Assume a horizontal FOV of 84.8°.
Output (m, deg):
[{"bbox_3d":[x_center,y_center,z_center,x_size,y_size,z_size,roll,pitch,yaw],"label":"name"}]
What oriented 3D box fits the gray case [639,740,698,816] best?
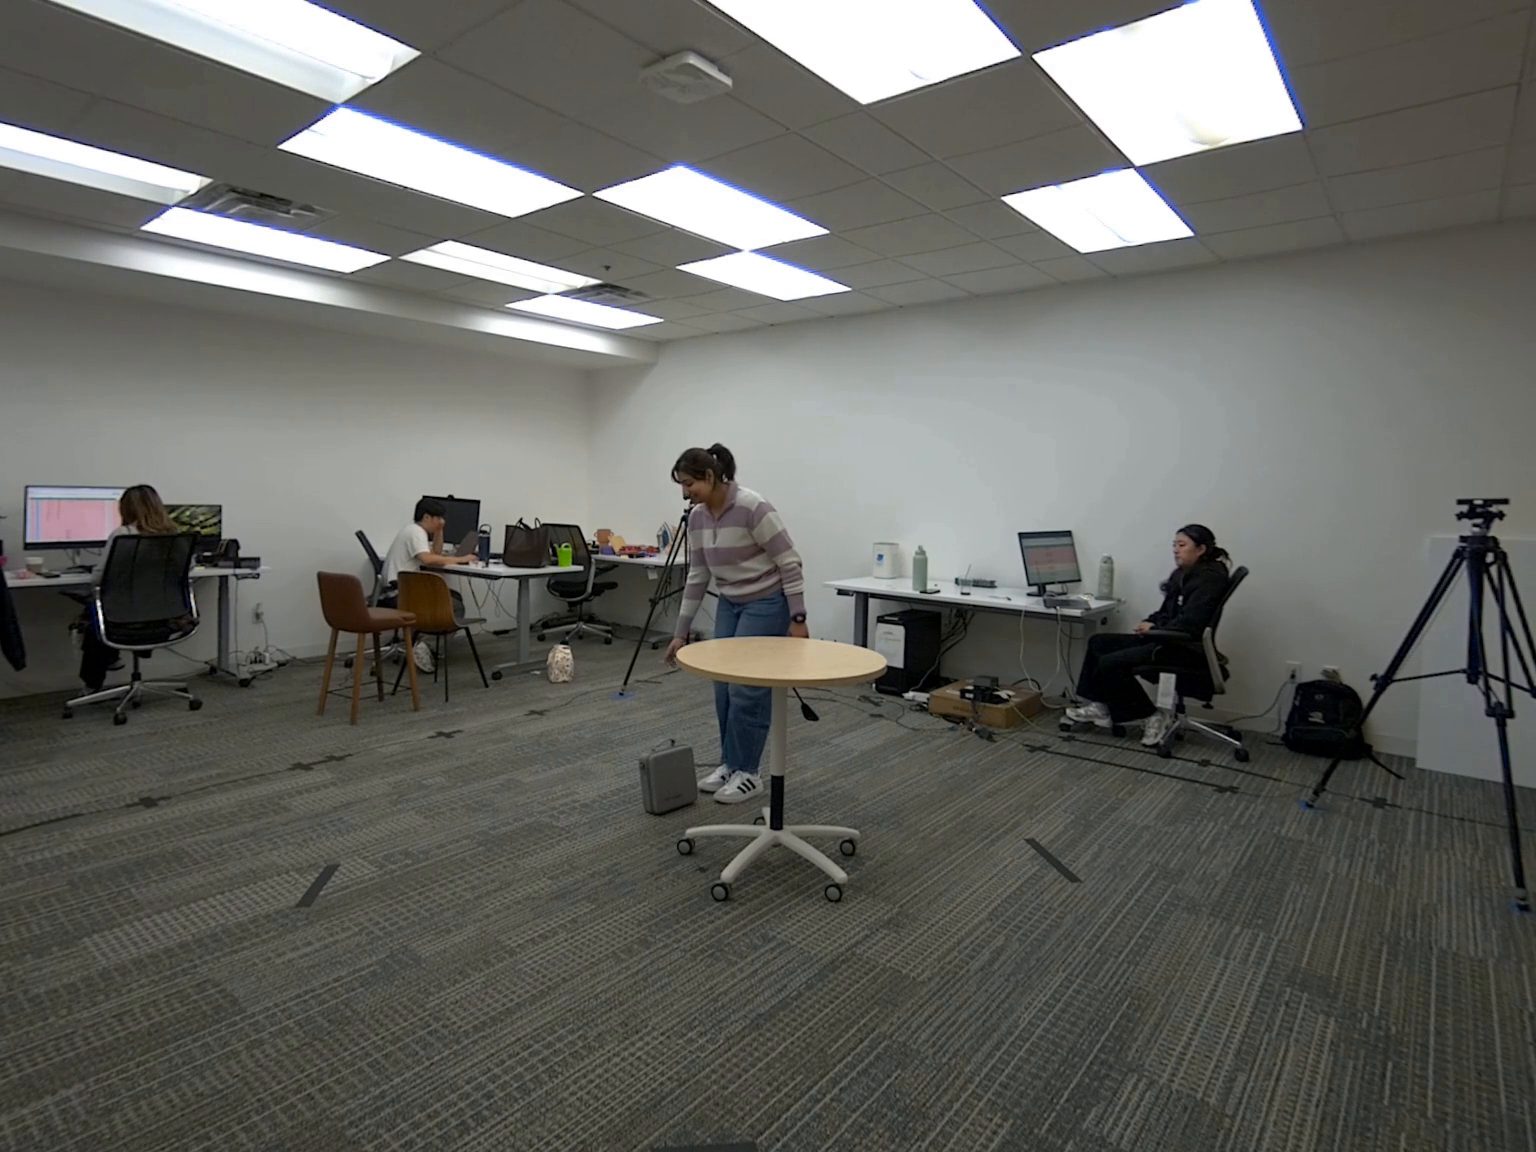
[{"bbox_3d":[-0.448,0.875,3.717,0.107,0.262,0.249,-11,-6,44],"label":"gray case"}]
